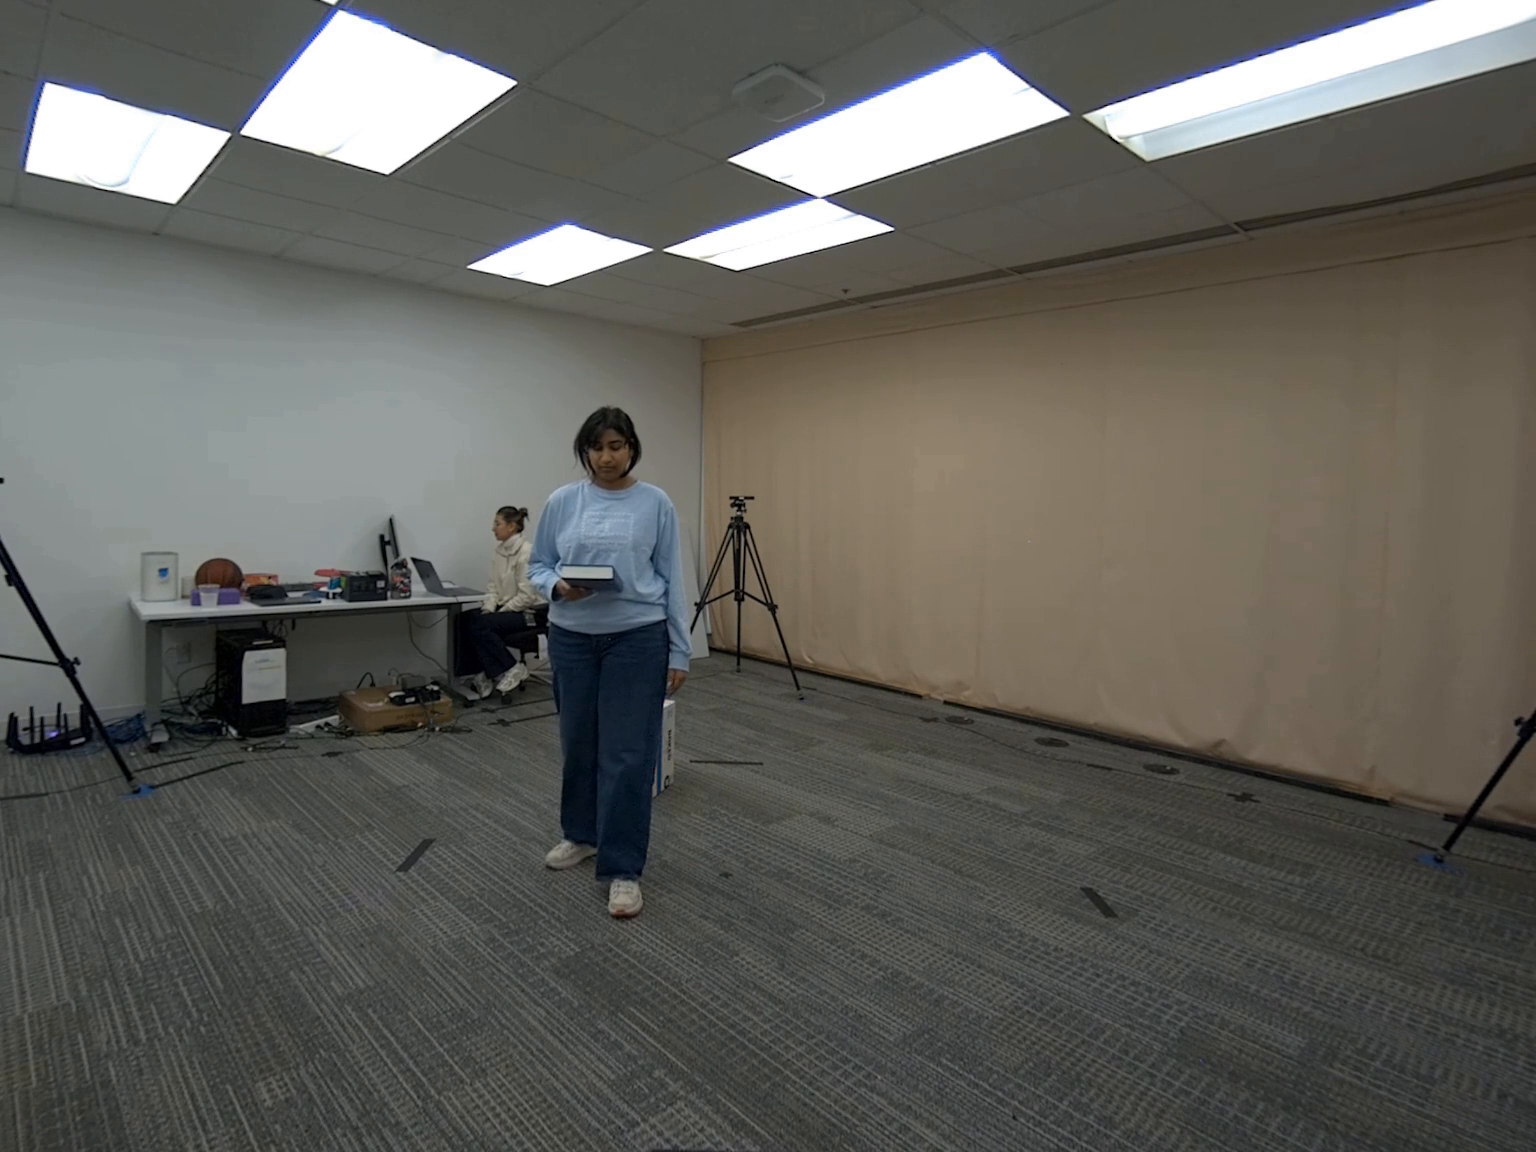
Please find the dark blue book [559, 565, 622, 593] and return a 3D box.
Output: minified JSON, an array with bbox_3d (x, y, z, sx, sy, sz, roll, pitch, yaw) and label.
[{"bbox_3d":[-0.593,0.011,2.700,0.163,0.045,0.243,0,-11,-1],"label":"dark blue book"}]
